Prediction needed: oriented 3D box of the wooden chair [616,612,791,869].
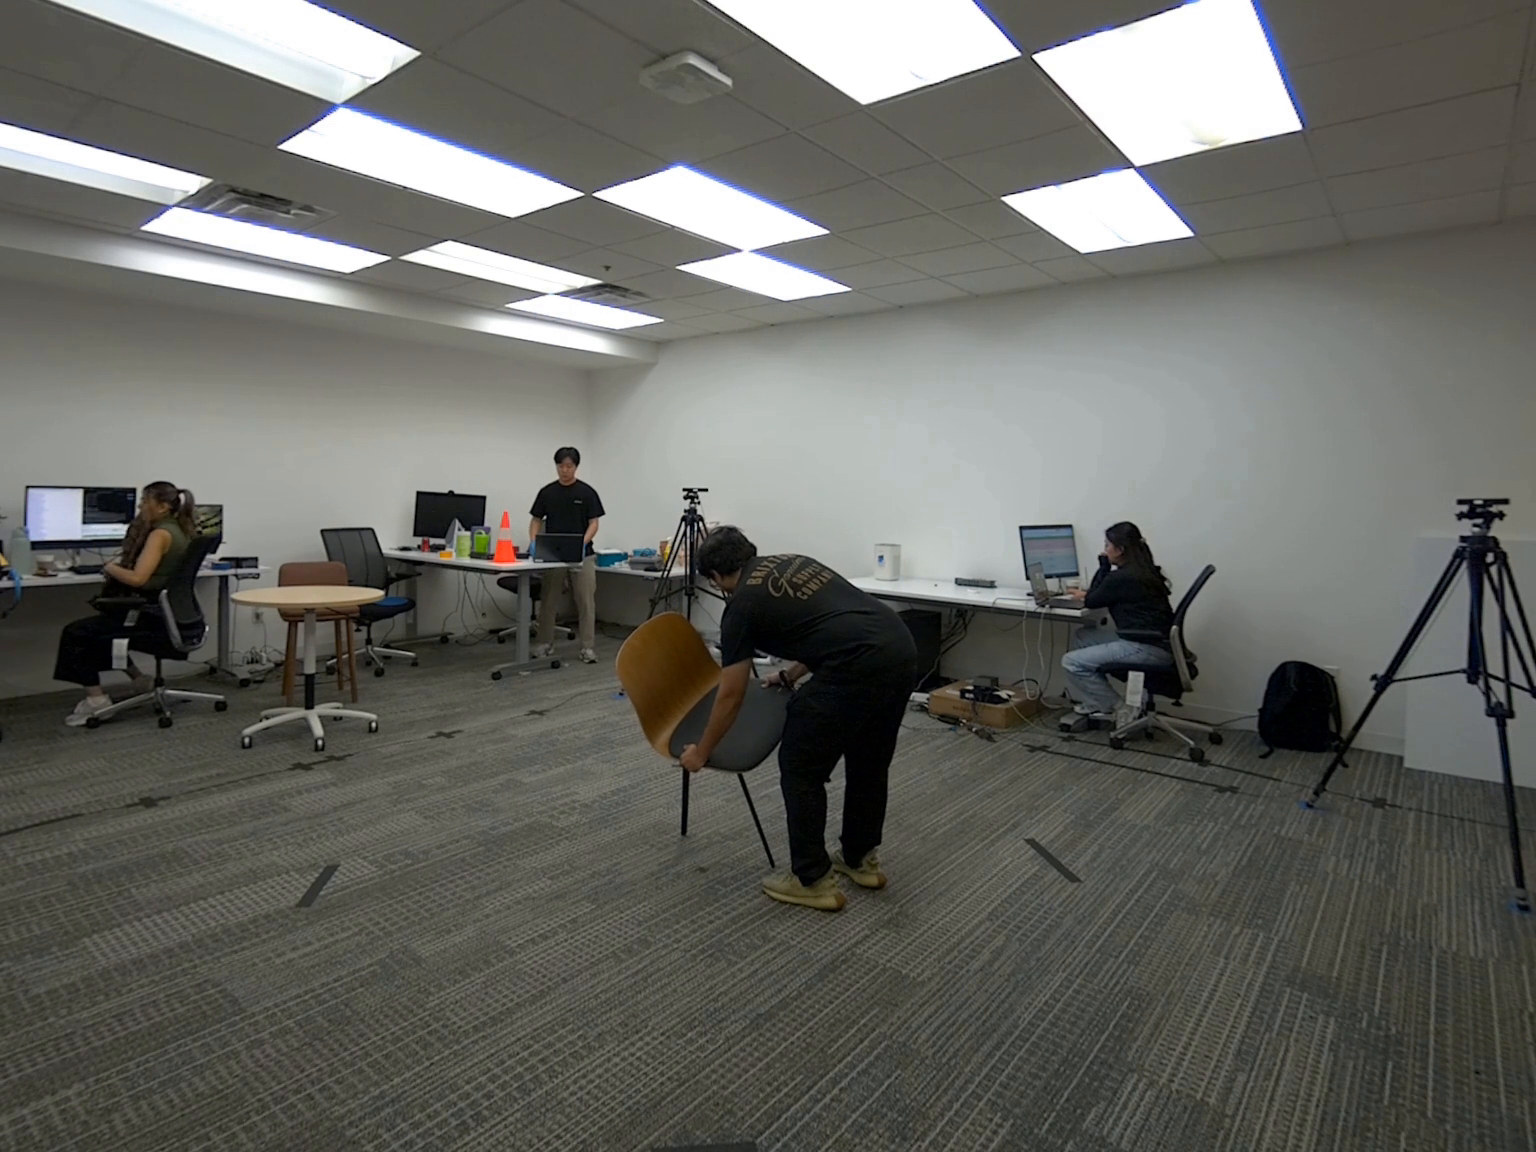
[{"bbox_3d":[-0.171,0.579,3.234,0.540,0.854,0.476,0,31,40],"label":"wooden chair"}]
